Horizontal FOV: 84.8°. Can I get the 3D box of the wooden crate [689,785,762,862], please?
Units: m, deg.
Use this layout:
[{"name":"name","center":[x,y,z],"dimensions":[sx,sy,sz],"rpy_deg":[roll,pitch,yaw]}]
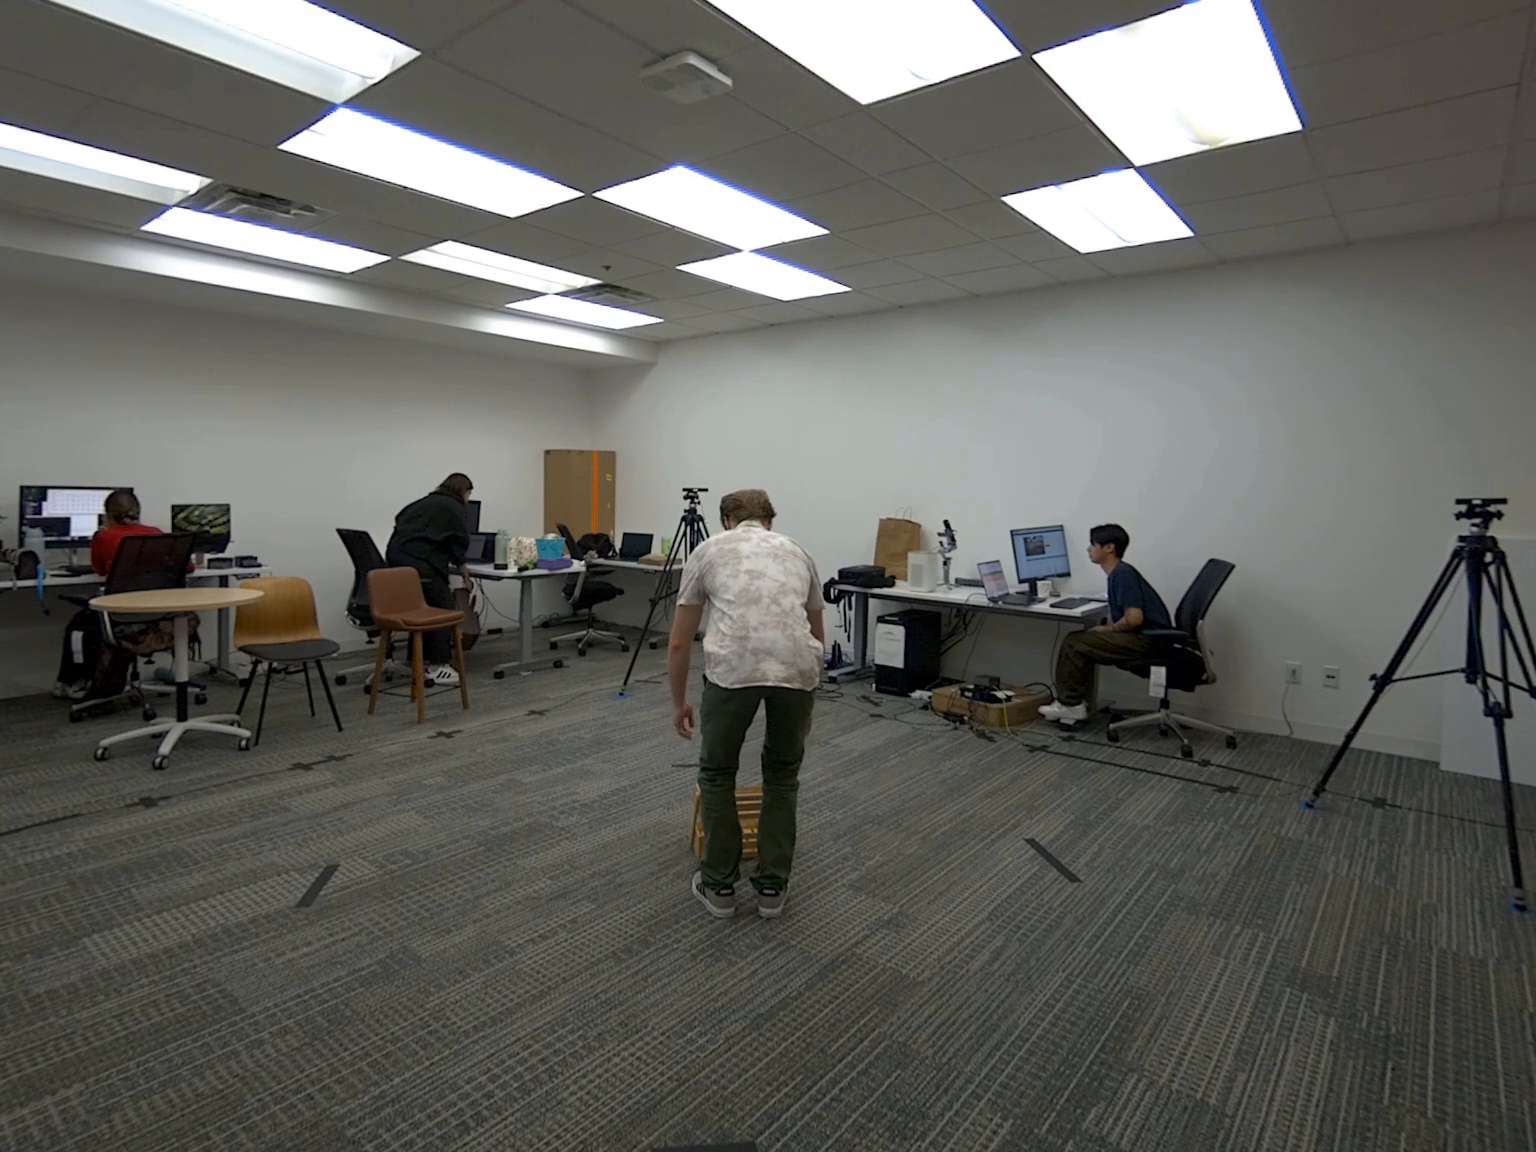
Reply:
[{"name":"wooden crate","center":[-0.143,0.916,3.294],"dimensions":[0.320,0.272,0.307],"rpy_deg":[0,5,-13]}]
